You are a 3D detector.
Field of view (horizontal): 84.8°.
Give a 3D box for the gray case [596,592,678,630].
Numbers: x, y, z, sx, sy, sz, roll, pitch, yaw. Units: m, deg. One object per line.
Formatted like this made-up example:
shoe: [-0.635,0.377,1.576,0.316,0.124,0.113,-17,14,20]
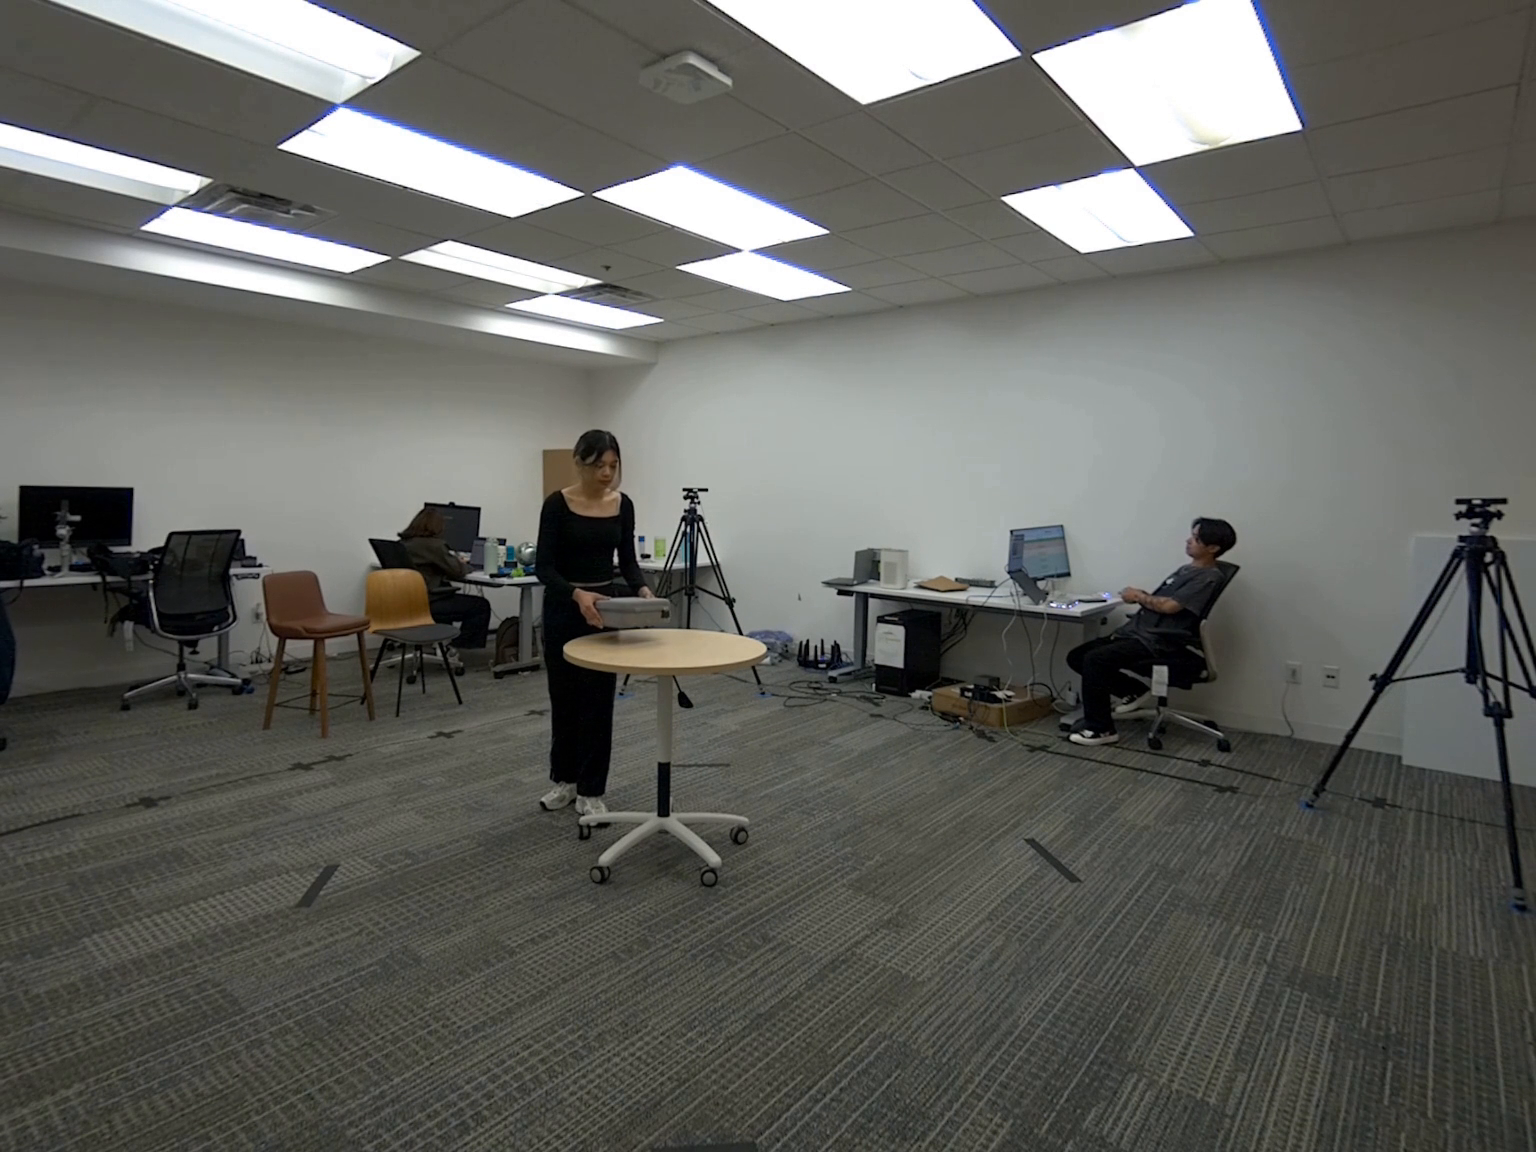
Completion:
gray case: [-0.547,0.131,3.341,0.269,0.104,0.249,5,6,38]
